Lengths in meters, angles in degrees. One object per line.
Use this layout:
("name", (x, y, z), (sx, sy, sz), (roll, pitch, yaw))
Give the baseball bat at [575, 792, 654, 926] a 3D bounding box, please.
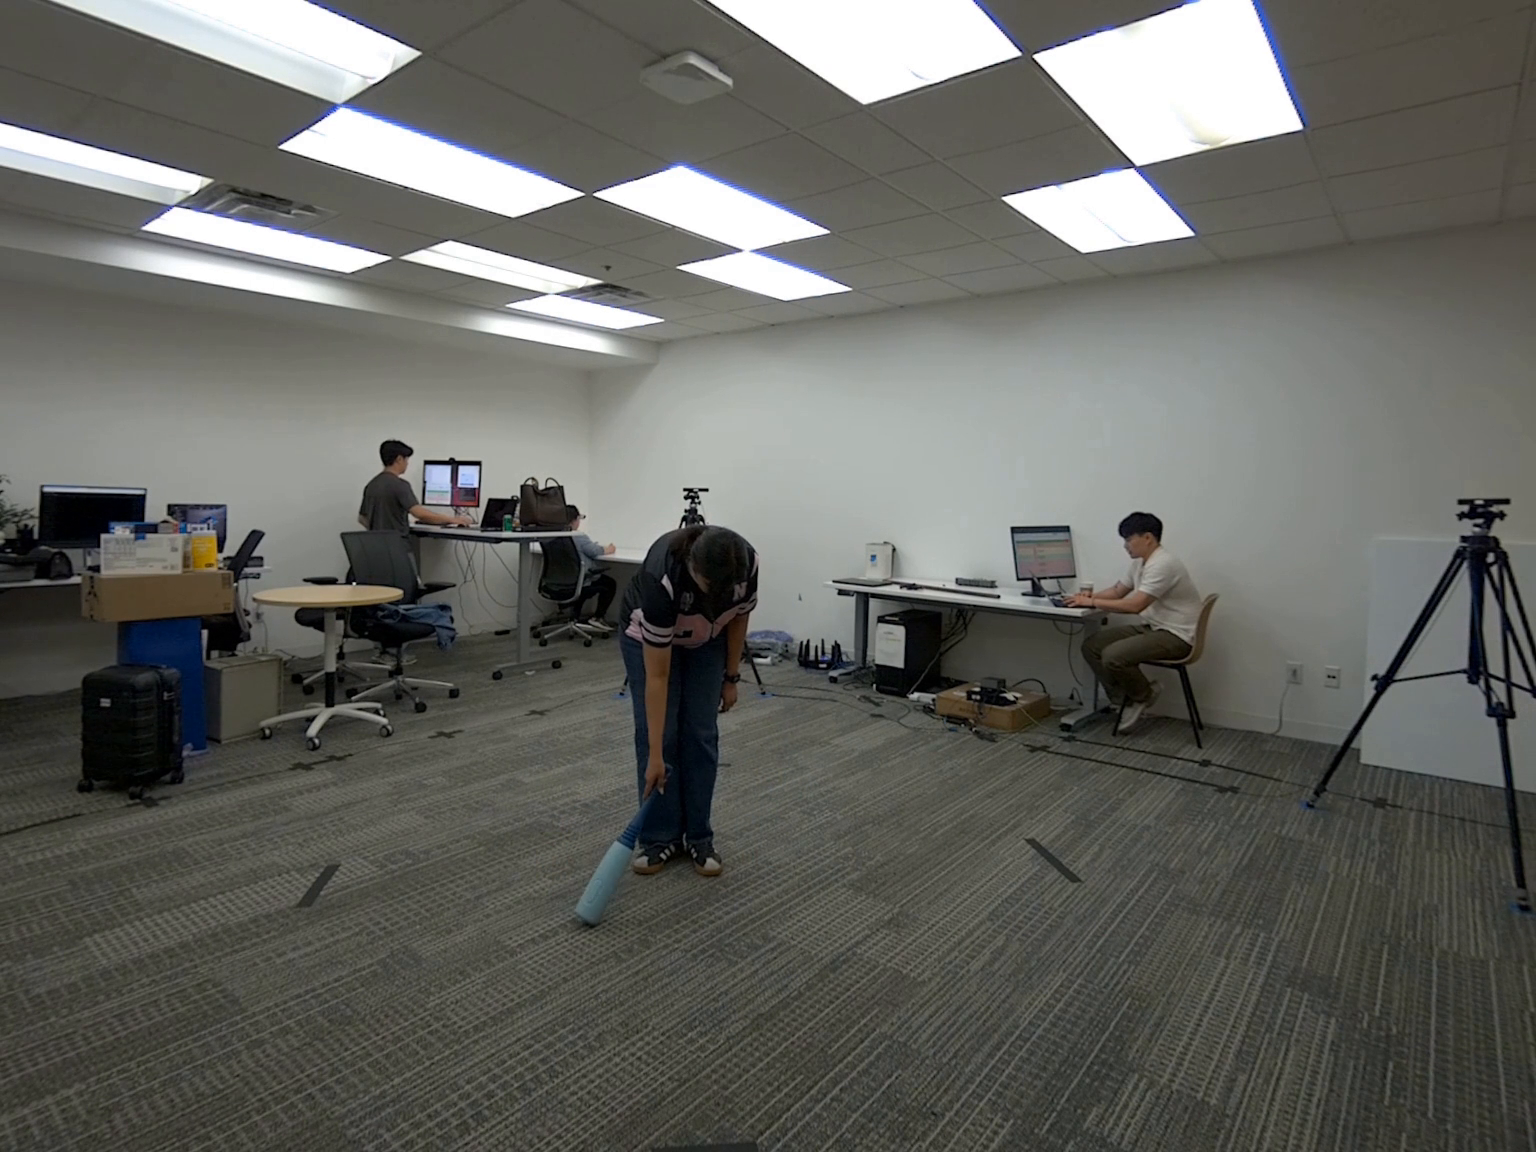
("baseball bat", (-0.465, 0.867, 2.782), (0.090, 0.546, 0.087), (26, -19, 8))
